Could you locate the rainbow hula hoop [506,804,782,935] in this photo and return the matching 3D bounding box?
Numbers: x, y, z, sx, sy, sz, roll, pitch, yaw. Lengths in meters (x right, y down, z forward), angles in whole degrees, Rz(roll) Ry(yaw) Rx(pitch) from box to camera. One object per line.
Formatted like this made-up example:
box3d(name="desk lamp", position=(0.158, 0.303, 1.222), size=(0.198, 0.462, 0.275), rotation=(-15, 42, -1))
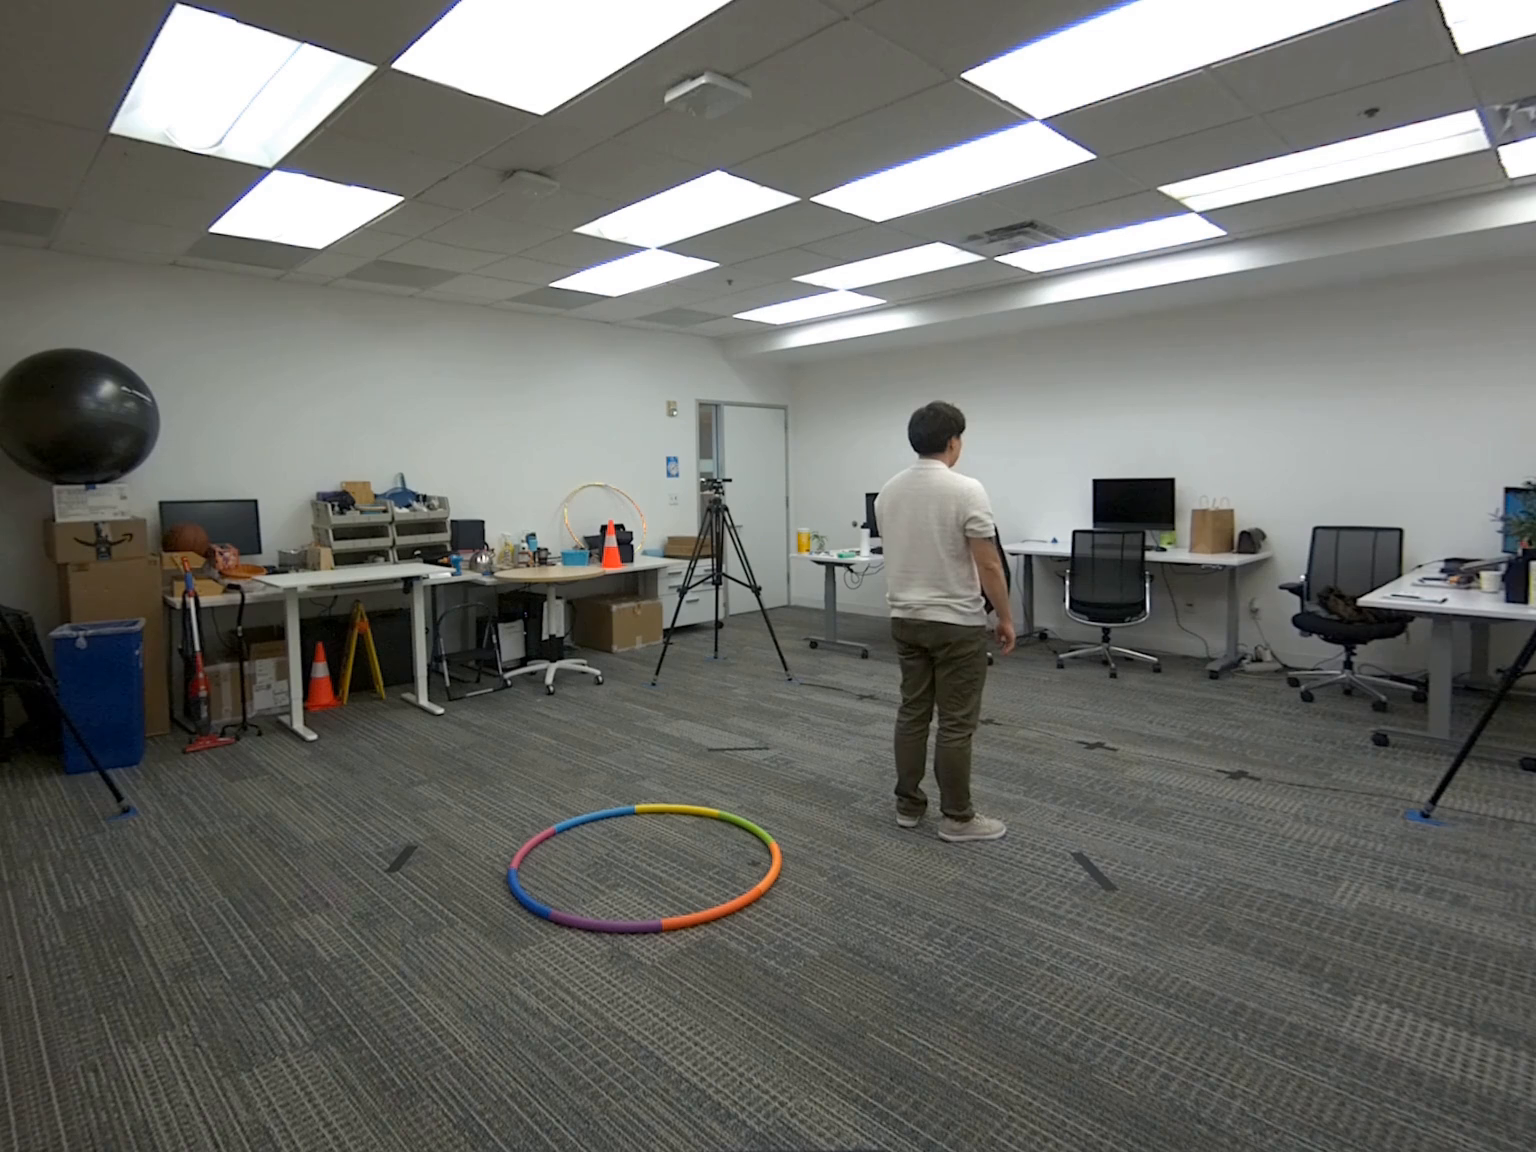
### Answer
box3d(name="rainbow hula hoop", position=(-0.442, 1.021, 3.123), size=(0.978, 0.035, 0.984), rotation=(-1, 7, -2))
